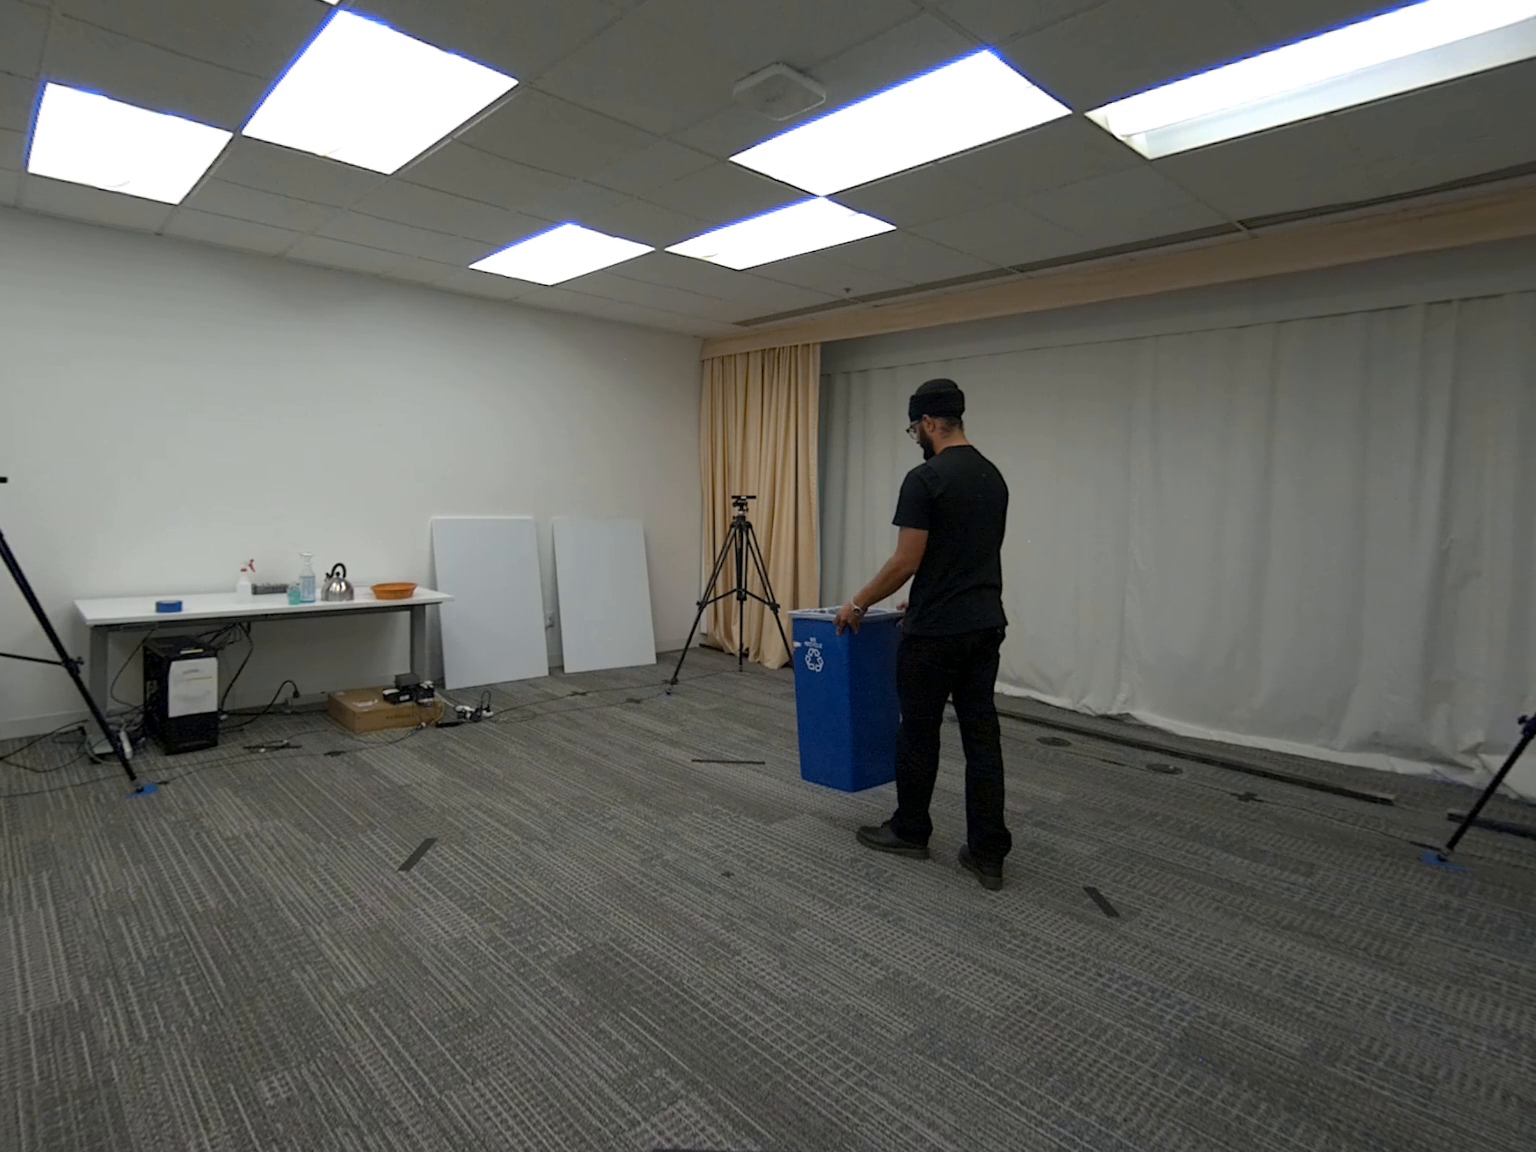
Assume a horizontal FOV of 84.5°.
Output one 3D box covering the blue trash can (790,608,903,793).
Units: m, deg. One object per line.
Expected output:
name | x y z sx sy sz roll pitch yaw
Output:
blue trash can | 0.338 0.504 3.558 0.369 0.713 0.382 -3 1 -40
